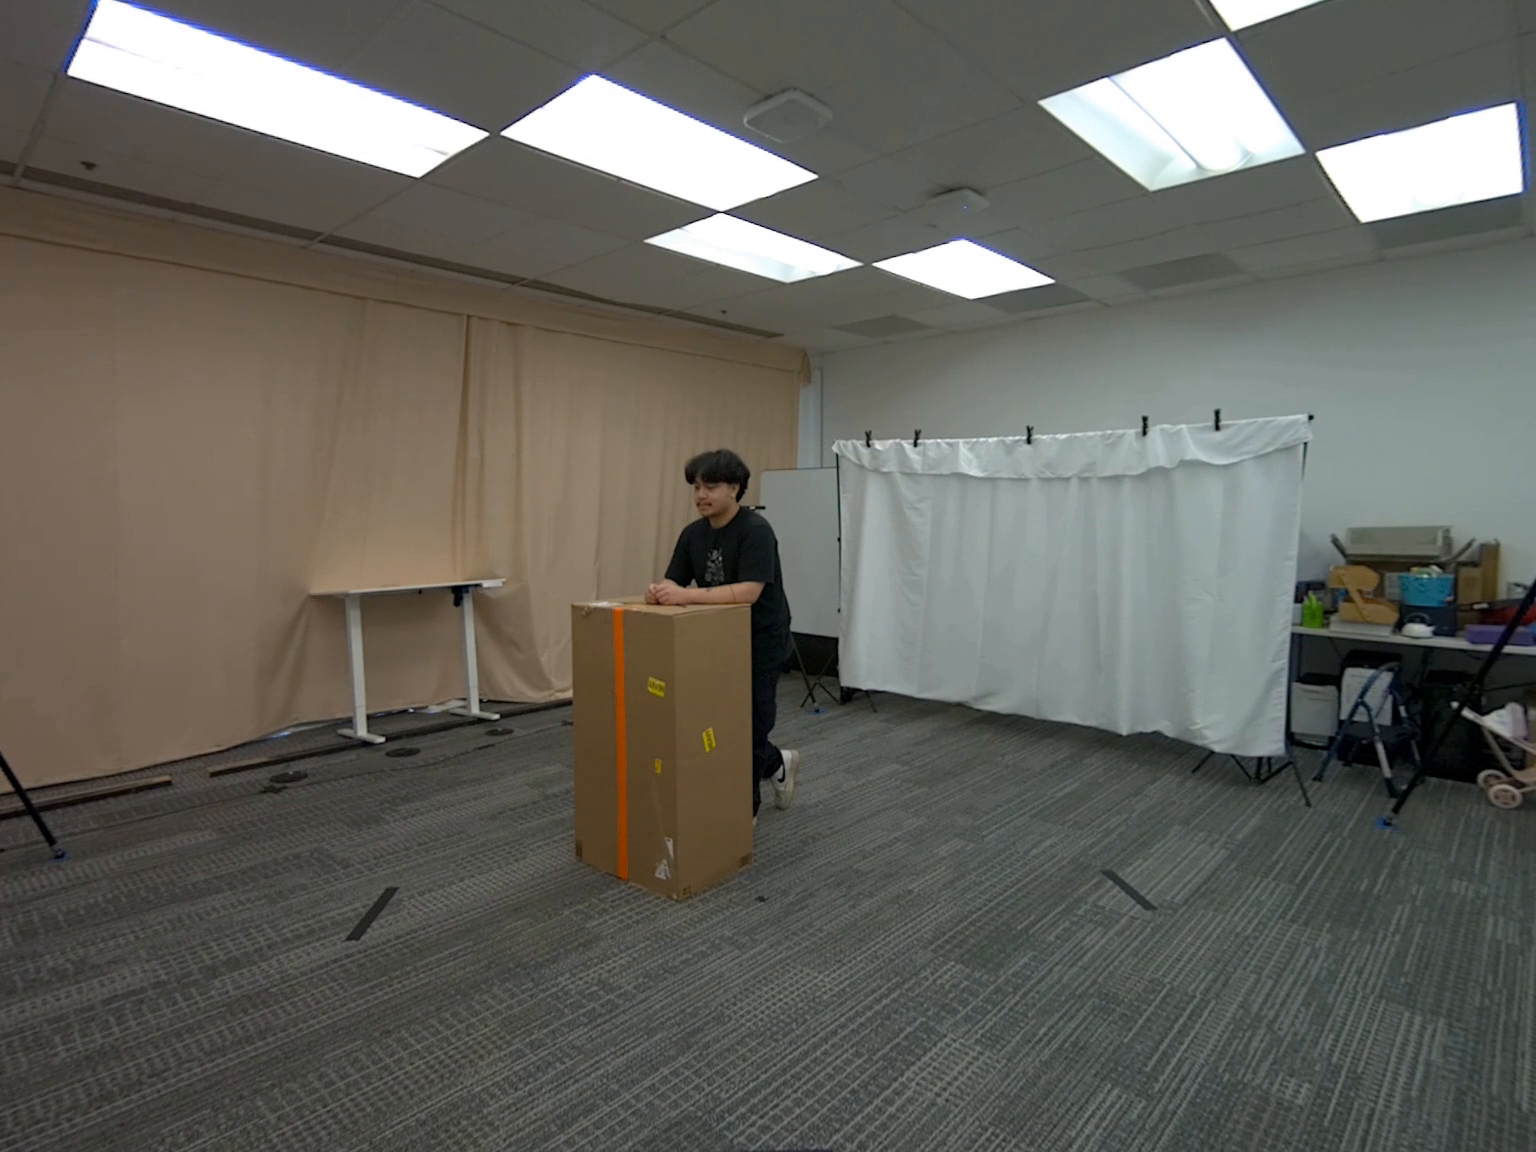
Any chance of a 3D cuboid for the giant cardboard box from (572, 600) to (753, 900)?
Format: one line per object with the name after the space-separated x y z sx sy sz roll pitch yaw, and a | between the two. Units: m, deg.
-0.419 0.613 3.282 0.603 1.025 0.433 2 4 41 | giant cardboard box
